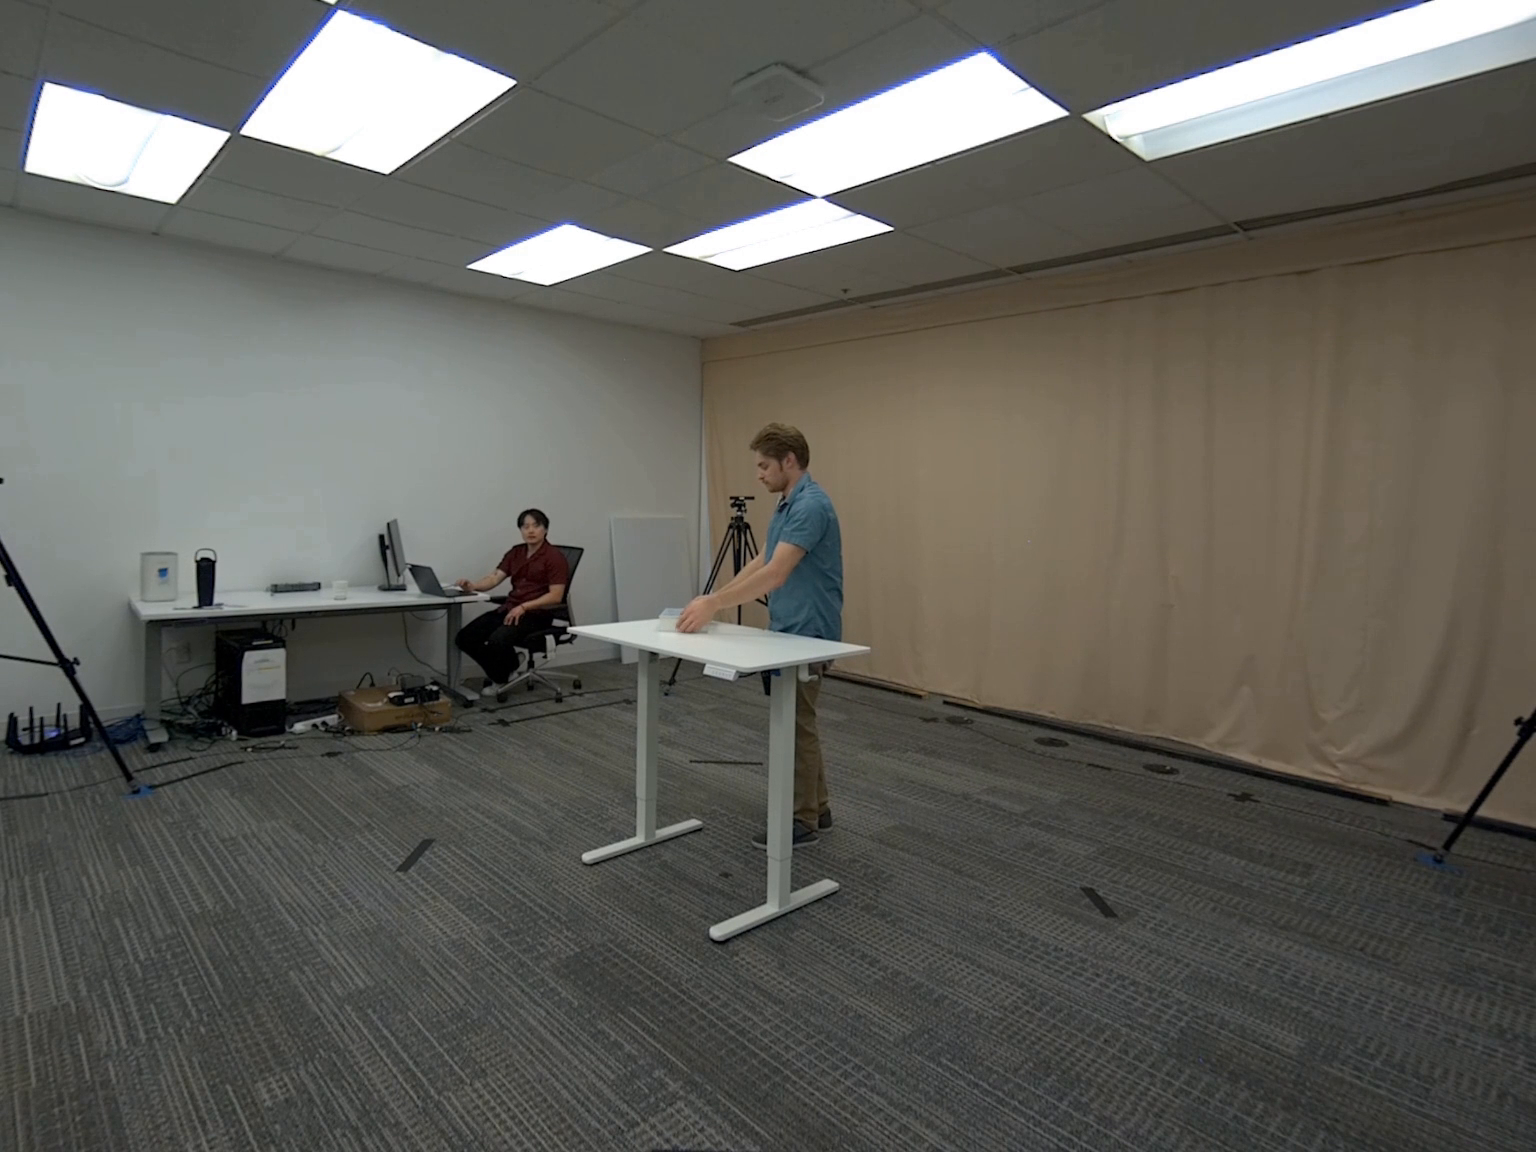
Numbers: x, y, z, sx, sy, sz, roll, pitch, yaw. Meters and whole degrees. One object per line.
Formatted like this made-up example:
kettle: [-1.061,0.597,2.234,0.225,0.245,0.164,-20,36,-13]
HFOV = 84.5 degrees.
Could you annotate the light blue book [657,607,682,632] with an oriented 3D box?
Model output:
light blue book: [-0.339,0.174,3.316,0.191,0.059,0.261,2,4,0]
